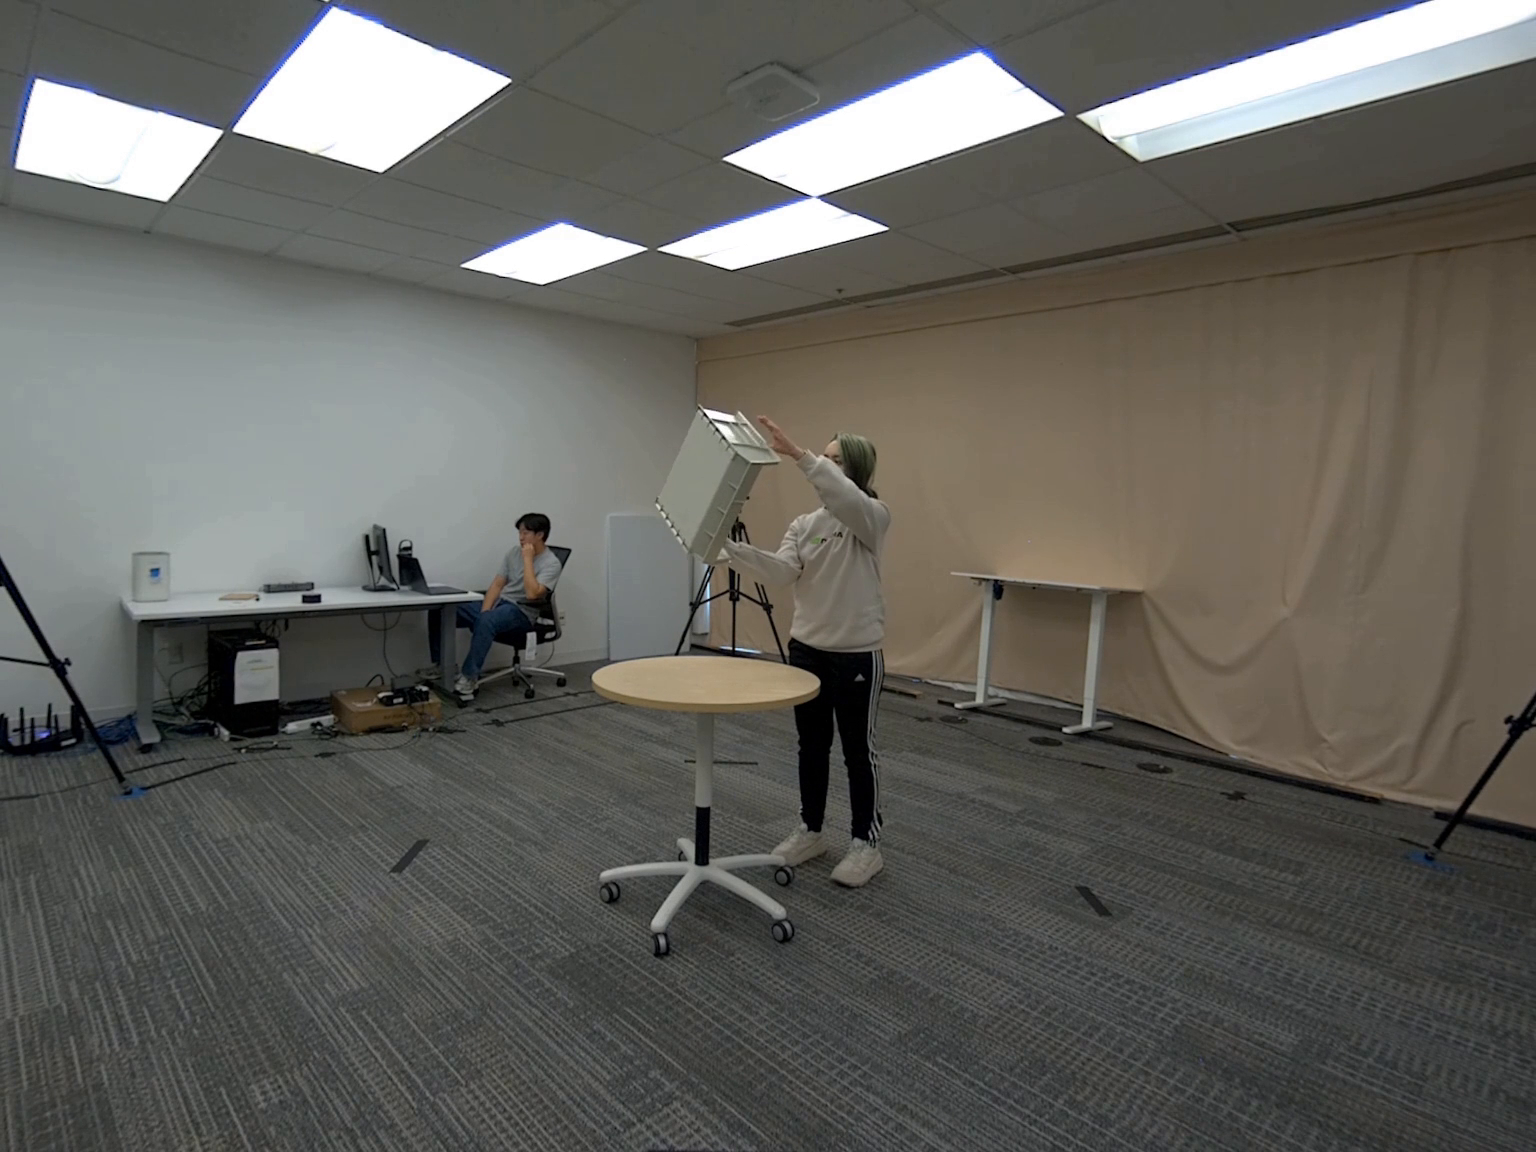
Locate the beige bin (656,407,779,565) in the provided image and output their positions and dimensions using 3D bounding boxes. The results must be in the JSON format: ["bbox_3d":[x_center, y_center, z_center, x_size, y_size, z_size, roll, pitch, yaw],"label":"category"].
[{"bbox_3d":[-0.175,-0.307,2.888,0.184,0.419,0.389,6,34,-36],"label":"beige bin"}]
